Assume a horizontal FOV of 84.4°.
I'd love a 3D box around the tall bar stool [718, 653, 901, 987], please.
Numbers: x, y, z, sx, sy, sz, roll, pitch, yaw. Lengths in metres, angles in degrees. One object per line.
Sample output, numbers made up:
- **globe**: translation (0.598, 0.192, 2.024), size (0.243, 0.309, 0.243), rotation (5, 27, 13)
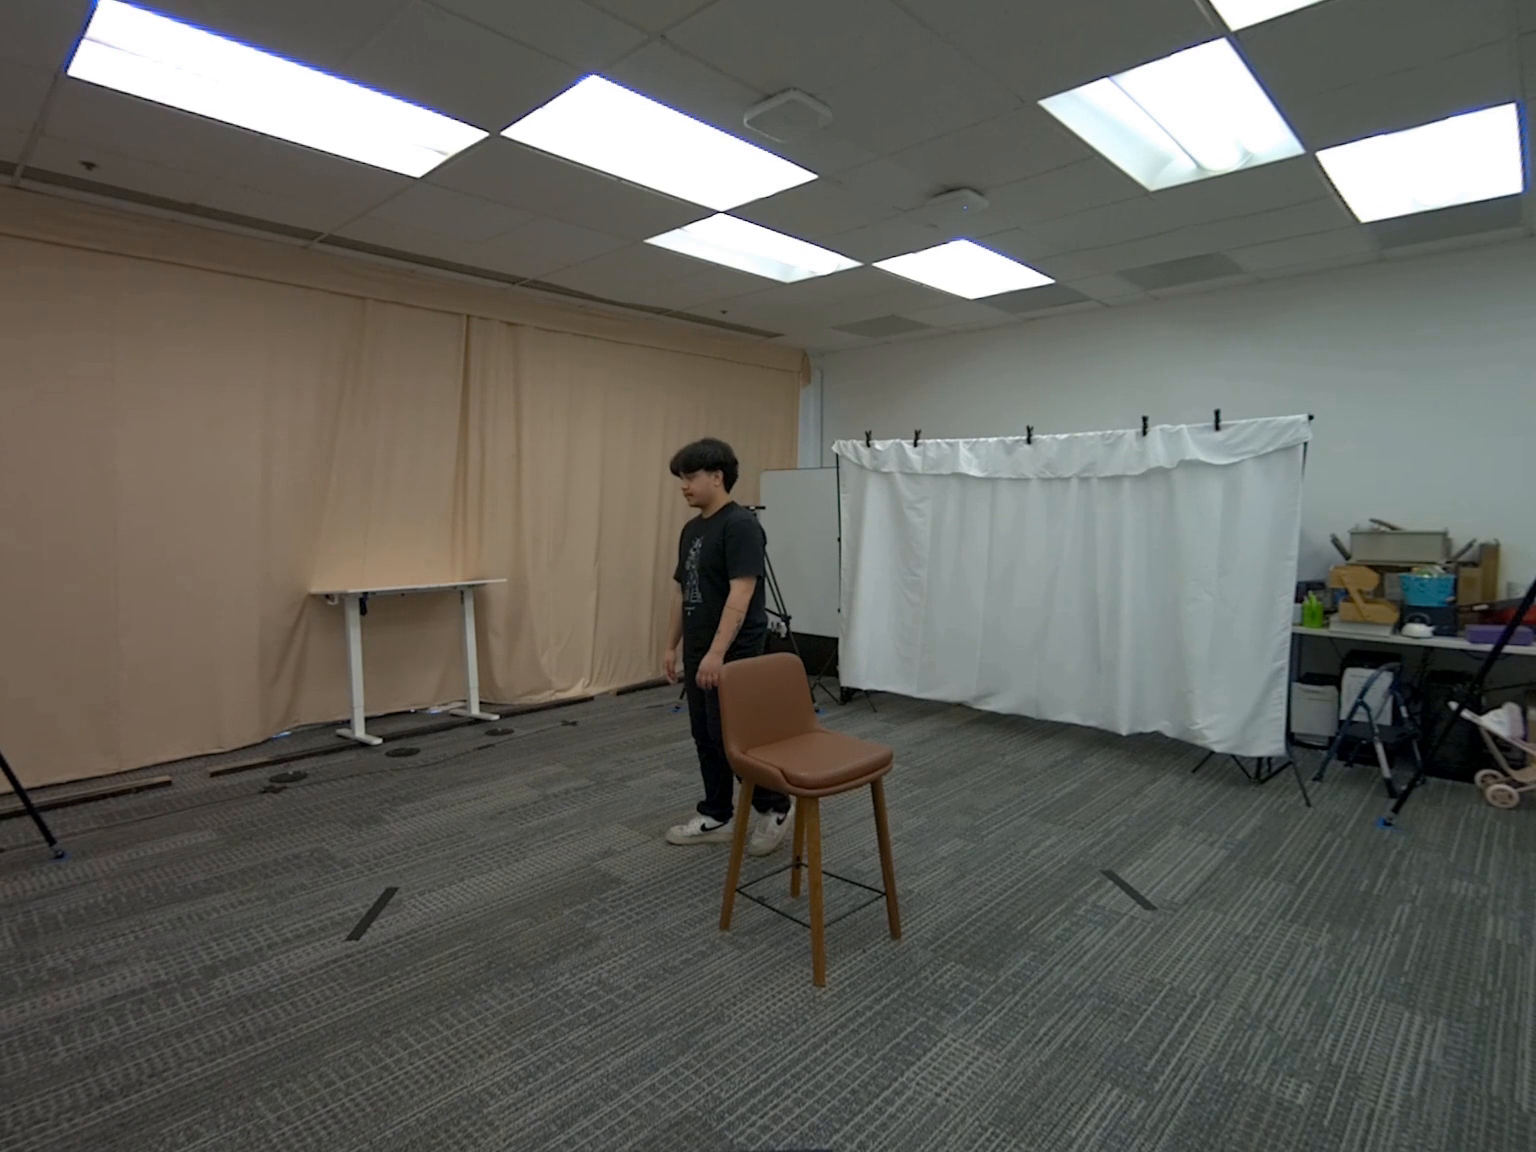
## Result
- **tall bar stool**: translation (0.129, 0.731, 2.720), size (0.442, 0.888, 0.483), rotation (-3, 3, -44)
